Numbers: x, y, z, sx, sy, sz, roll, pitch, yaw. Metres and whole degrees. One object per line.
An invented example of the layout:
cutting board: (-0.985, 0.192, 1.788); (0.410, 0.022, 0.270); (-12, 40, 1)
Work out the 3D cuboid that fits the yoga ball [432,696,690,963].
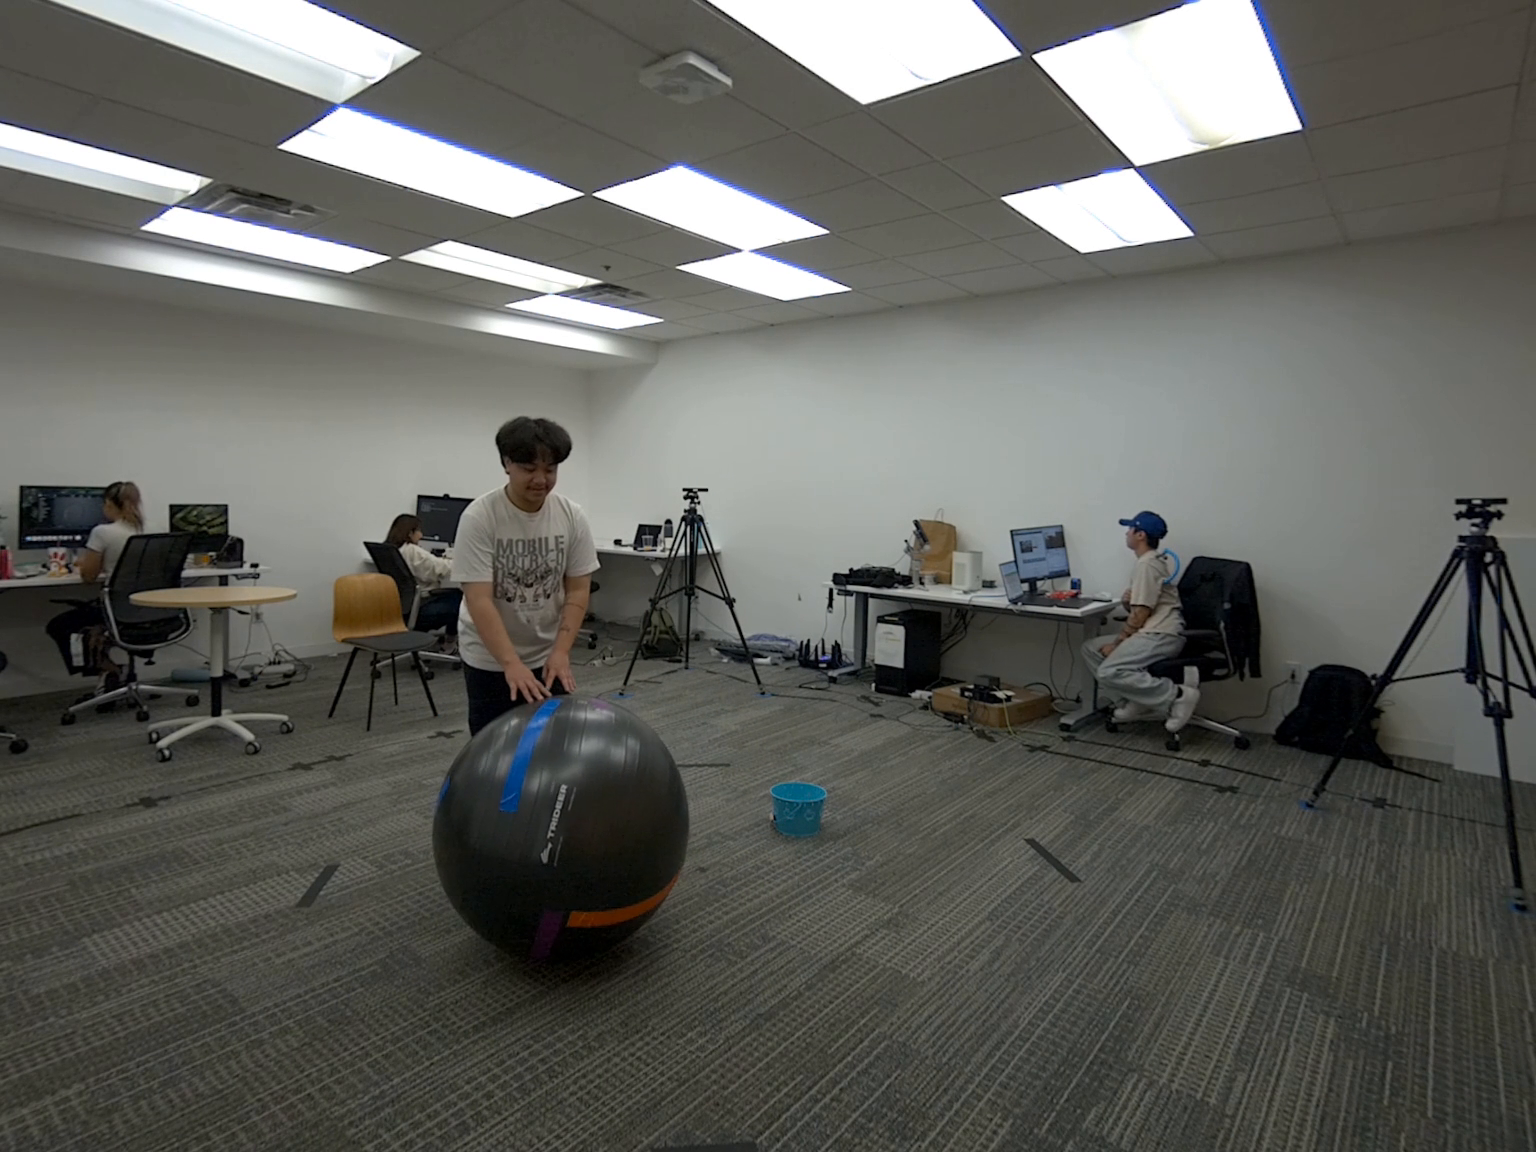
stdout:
yoga ball: (-0.626, 0.749, 2.580); (0.757, 0.755, 0.762); (1, 4, -2)
